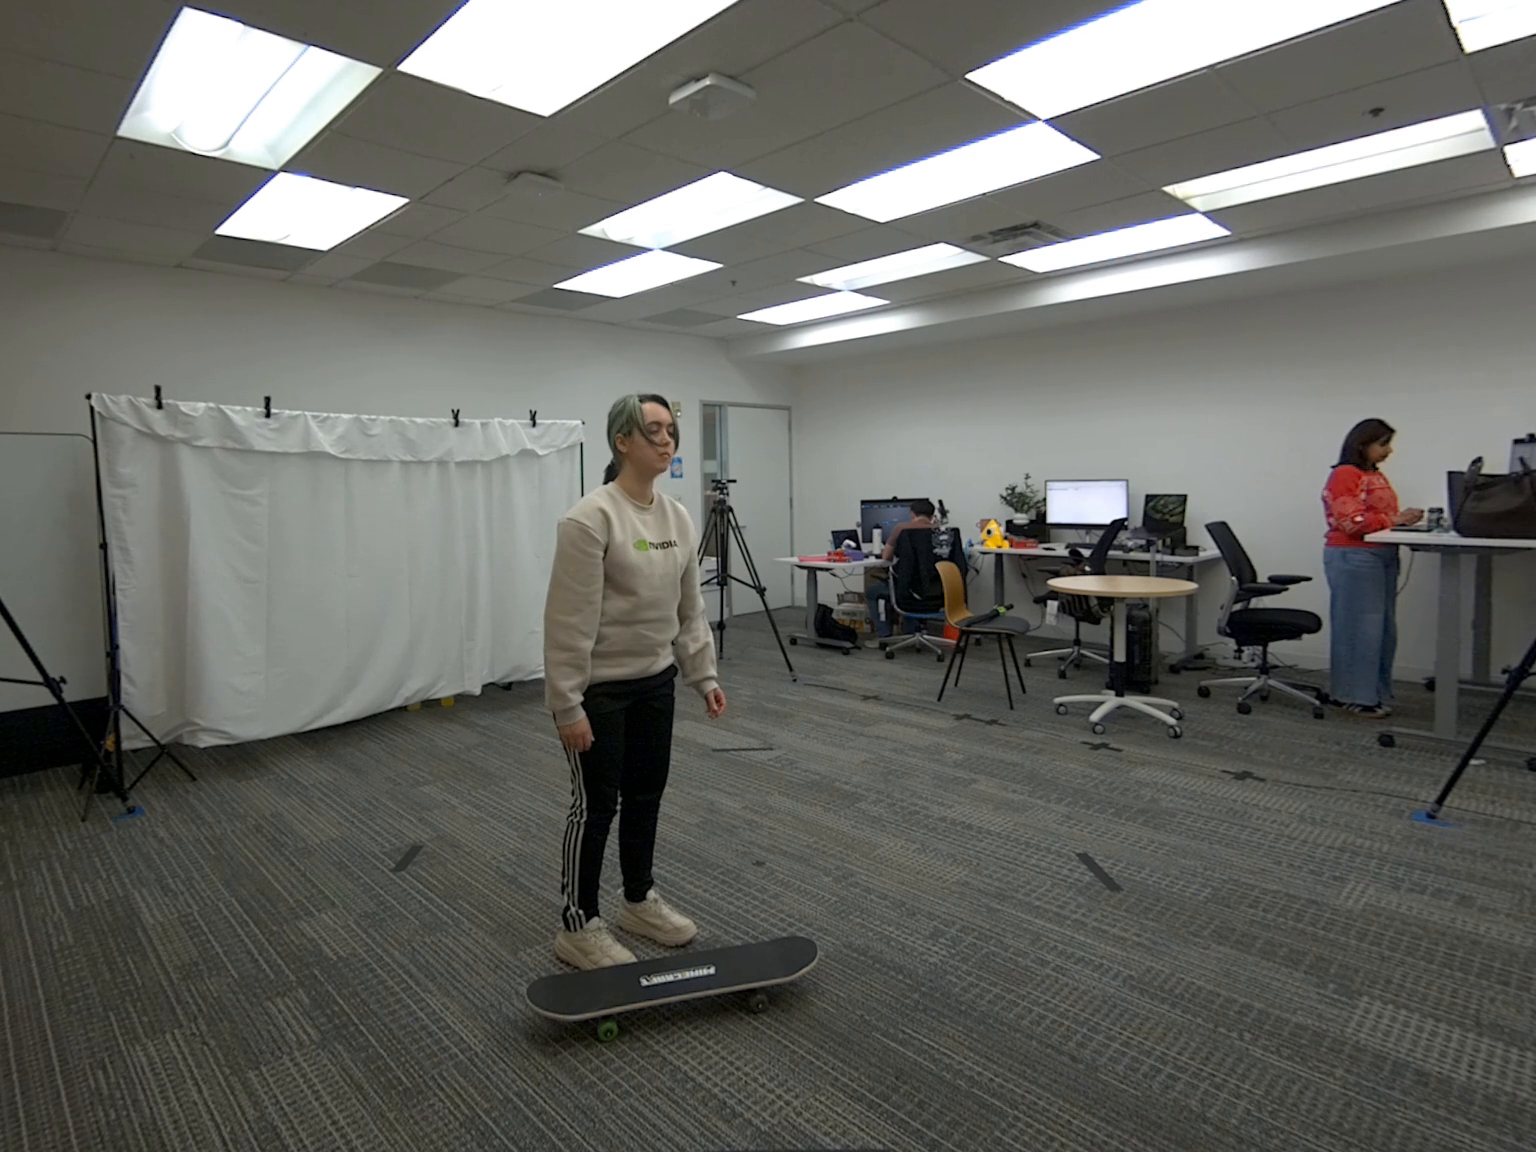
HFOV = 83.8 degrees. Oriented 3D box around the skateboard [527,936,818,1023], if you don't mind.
[{"bbox_3d":[-0.232,1.092,2.270,0.775,0.110,0.197,-3,6,-15],"label":"skateboard"}]
